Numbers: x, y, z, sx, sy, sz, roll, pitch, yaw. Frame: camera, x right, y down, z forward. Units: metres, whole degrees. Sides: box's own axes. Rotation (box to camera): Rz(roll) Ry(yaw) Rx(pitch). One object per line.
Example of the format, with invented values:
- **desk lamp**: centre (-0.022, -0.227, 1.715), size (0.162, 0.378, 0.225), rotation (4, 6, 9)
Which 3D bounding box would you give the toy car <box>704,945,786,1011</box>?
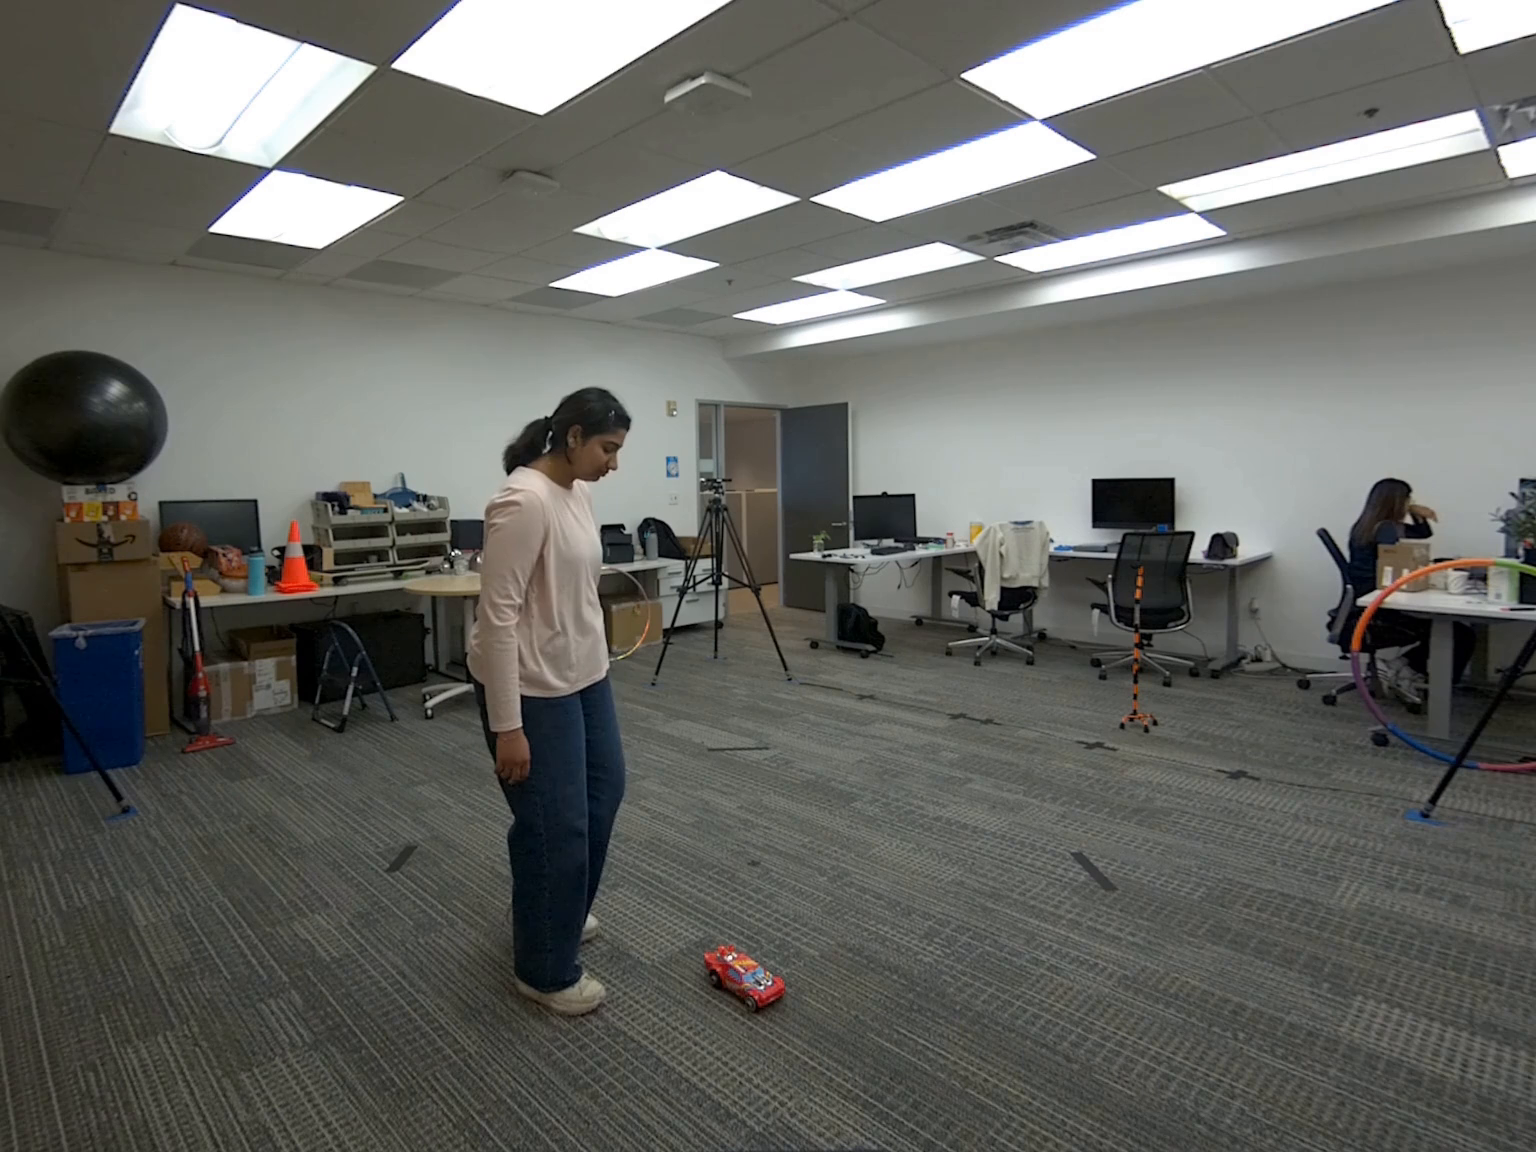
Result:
- **toy car**: centre (-0.068, 1.099, 2.347), size (0.127, 0.082, 0.264), rotation (-7, 19, -40)
